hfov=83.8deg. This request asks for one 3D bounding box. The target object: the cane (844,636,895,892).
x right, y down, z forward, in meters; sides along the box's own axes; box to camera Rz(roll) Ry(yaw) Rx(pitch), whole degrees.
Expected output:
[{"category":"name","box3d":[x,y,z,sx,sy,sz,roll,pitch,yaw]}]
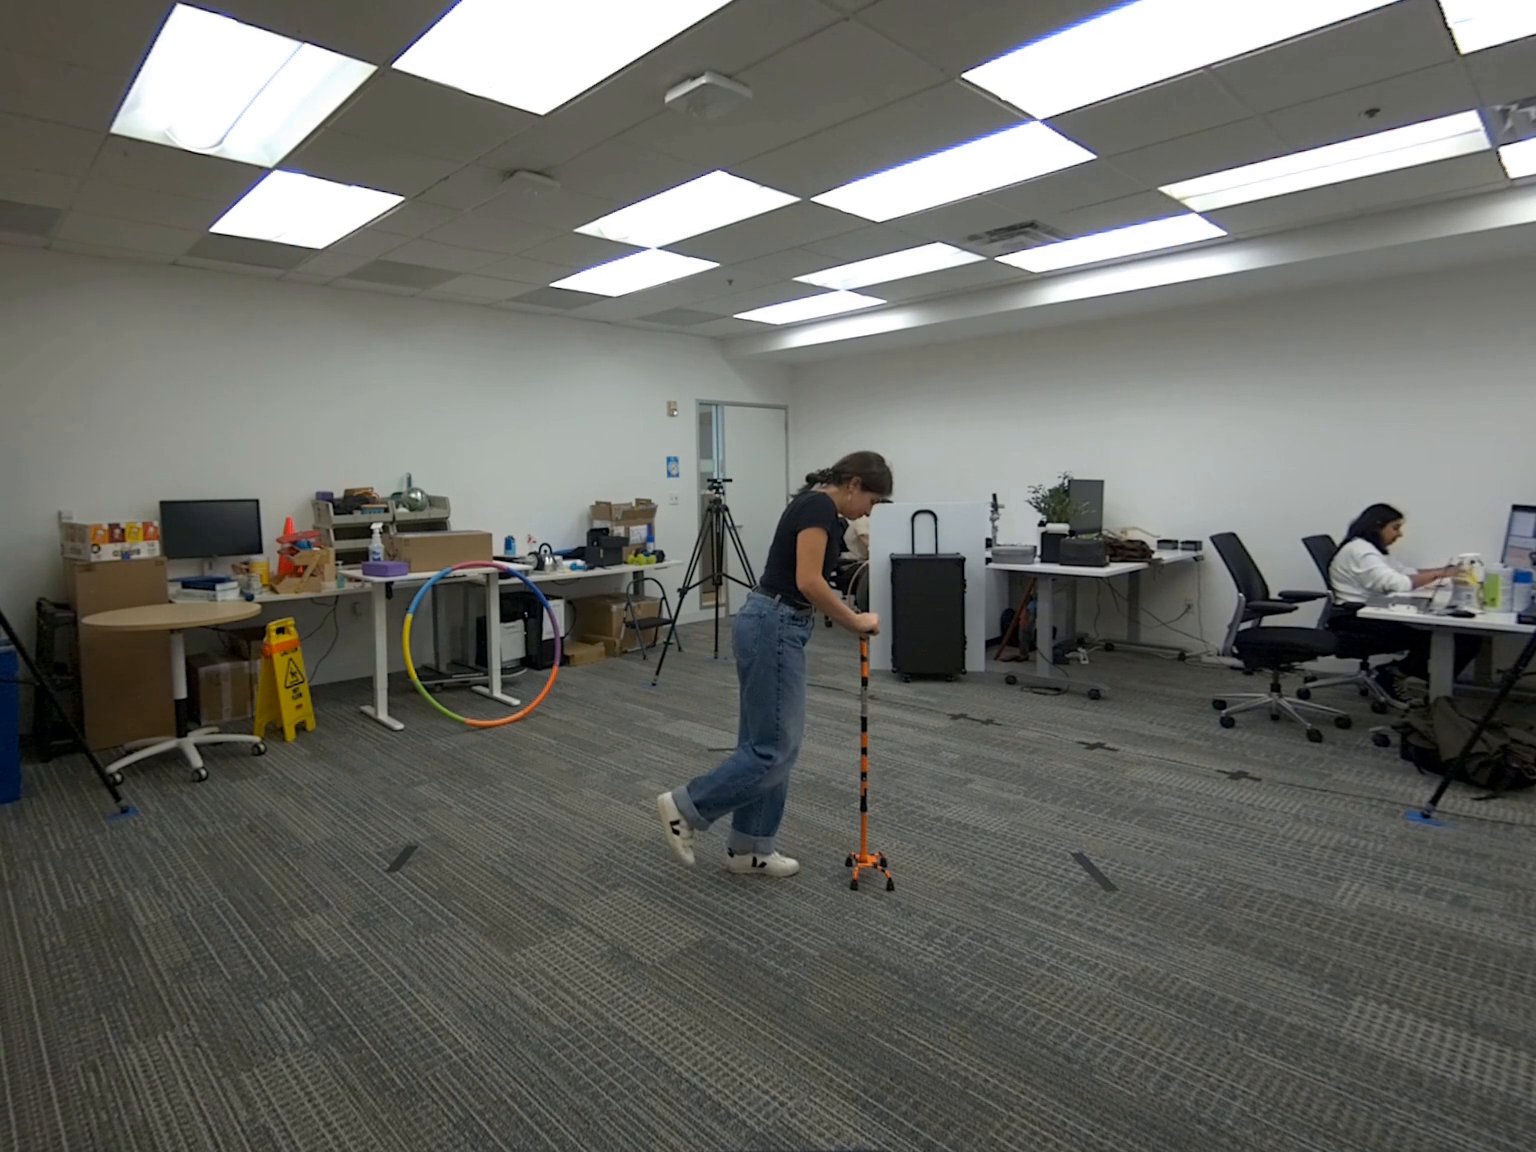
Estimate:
[{"category":"cane","box3d":[0.349,0.594,2.959,0.152,0.905,0.207,0,3,1]}]
